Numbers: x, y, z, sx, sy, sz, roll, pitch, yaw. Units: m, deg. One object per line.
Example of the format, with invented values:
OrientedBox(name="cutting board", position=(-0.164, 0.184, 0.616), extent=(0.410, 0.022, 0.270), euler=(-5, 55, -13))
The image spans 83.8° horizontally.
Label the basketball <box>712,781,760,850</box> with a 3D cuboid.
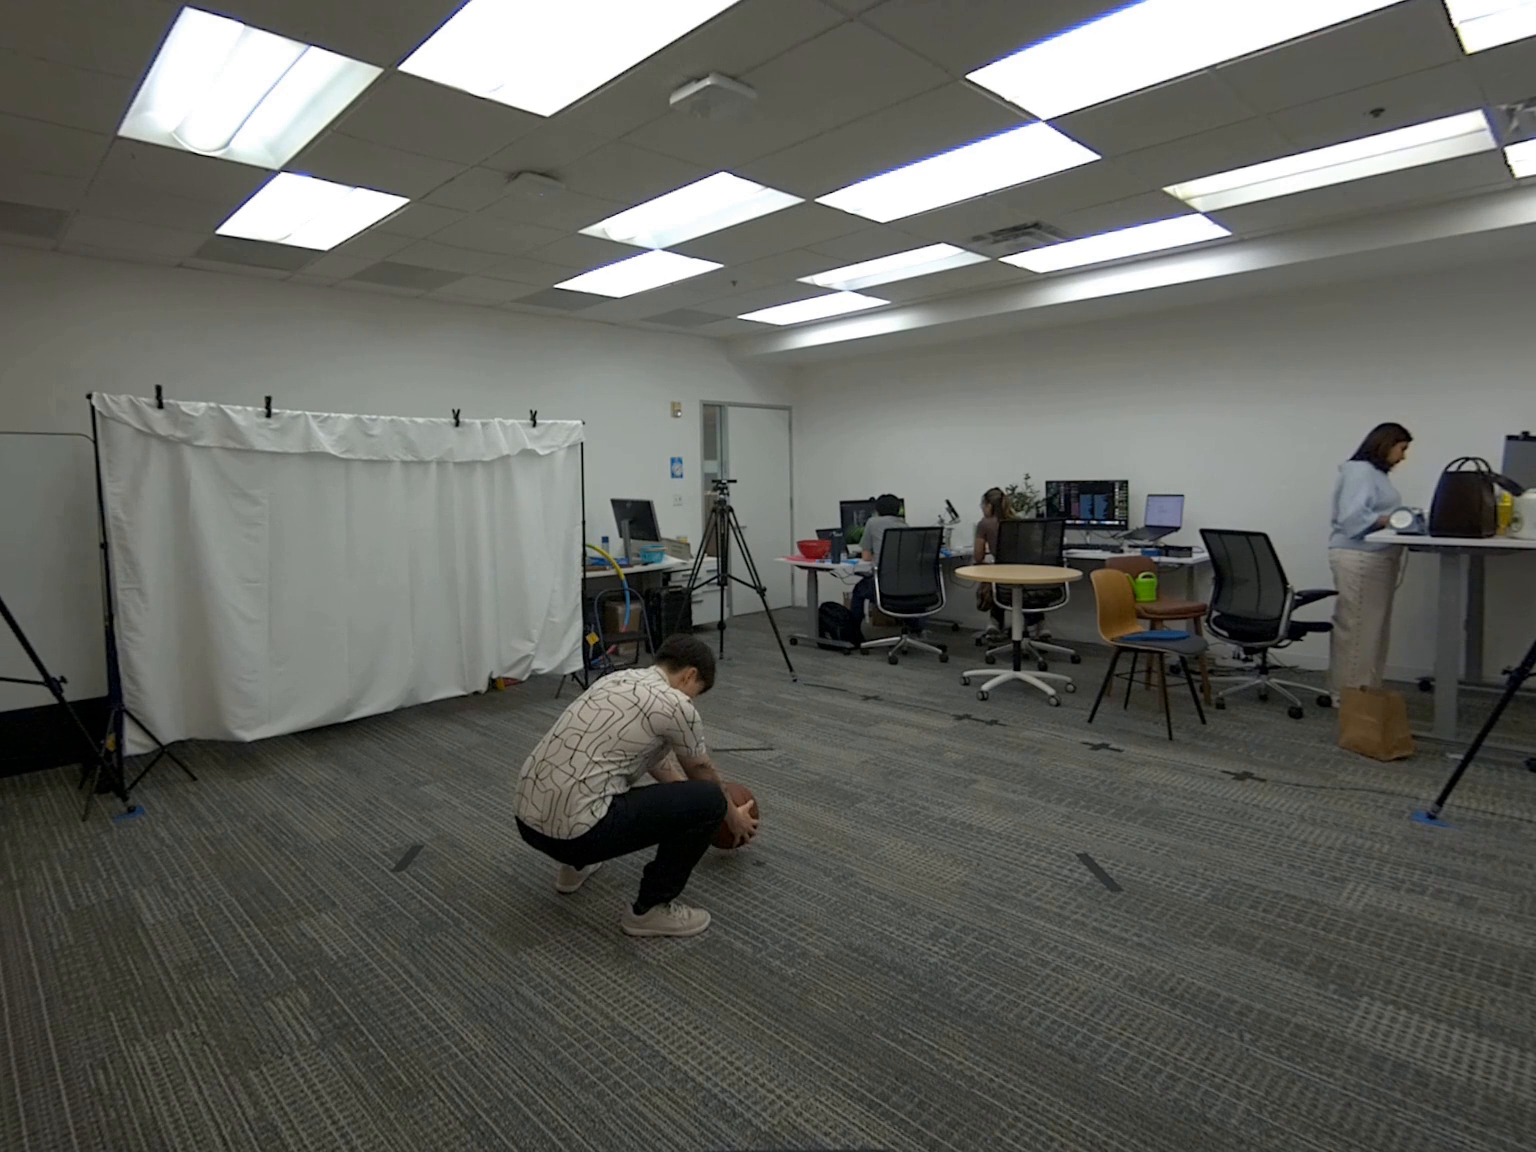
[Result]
OrientedBox(name="basketball", position=(-0.147, 0.876, 3.168), extent=(0.236, 0.235, 0.237), euler=(-1, 5, -2))
